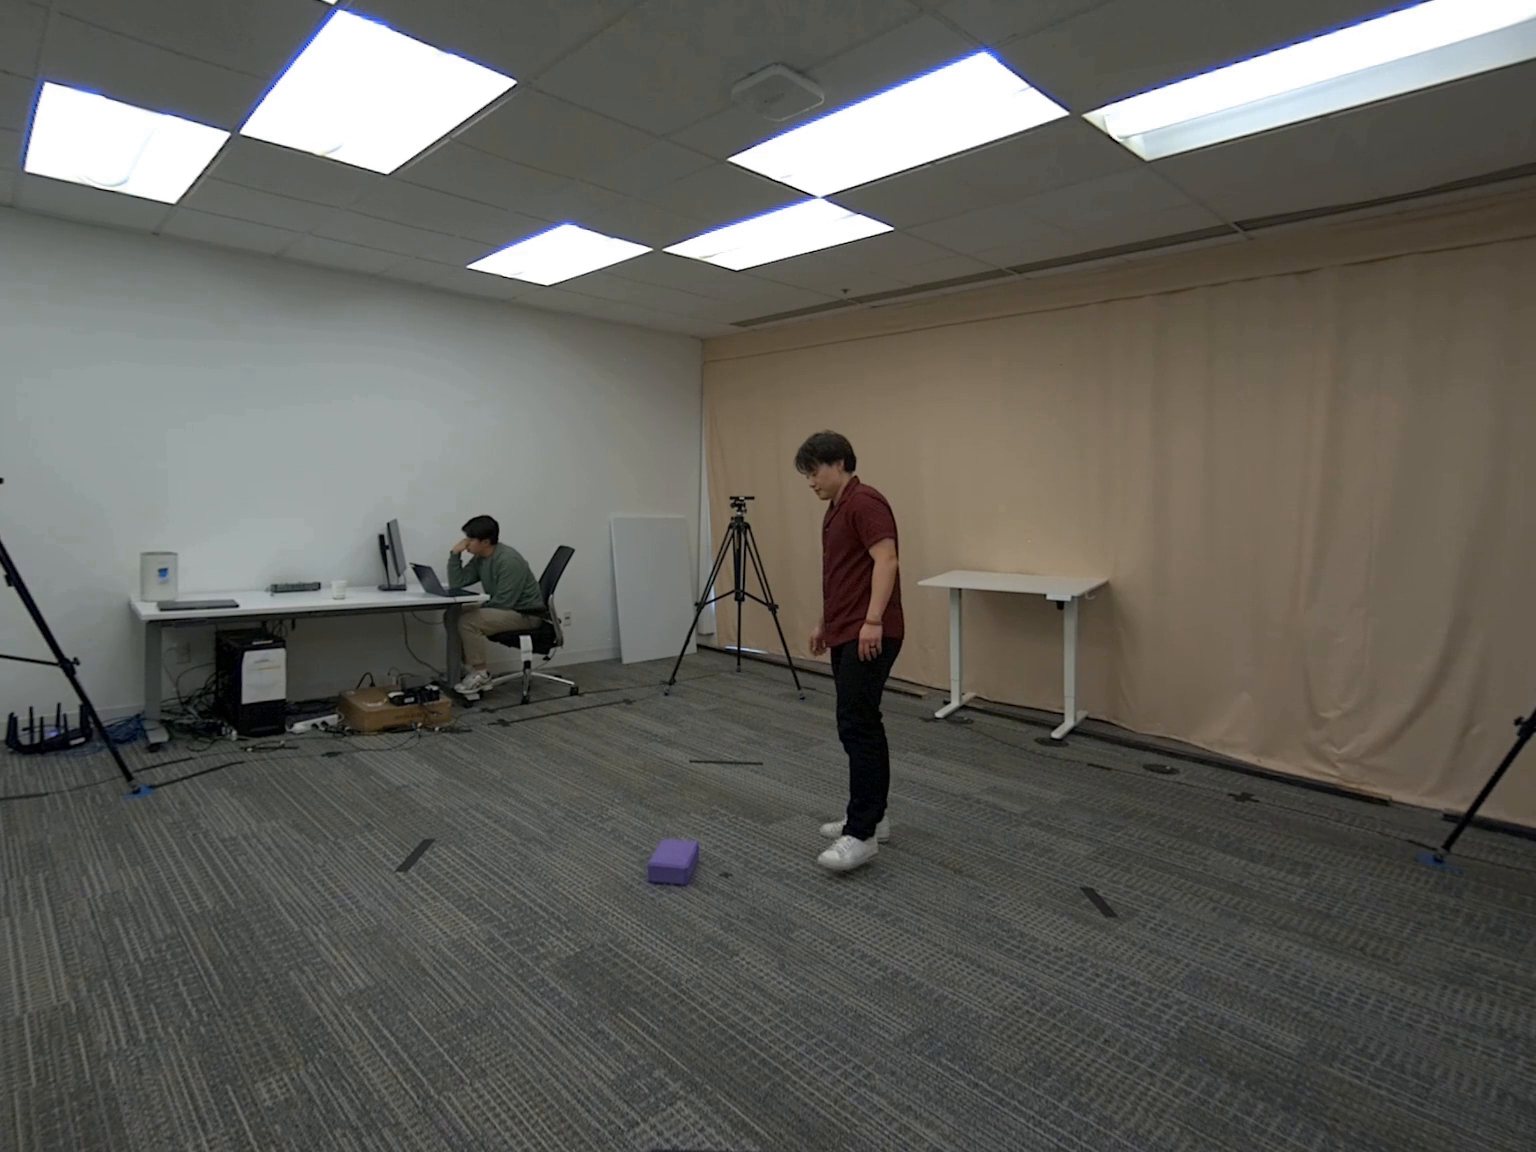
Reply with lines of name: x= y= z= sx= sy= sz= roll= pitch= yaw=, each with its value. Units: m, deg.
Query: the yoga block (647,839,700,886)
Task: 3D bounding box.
yoga block: x=-0.357 y=1.056 z=3.117 sx=0.150 sy=0.076 sz=0.228 roll=3 pitch=5 yaw=8
